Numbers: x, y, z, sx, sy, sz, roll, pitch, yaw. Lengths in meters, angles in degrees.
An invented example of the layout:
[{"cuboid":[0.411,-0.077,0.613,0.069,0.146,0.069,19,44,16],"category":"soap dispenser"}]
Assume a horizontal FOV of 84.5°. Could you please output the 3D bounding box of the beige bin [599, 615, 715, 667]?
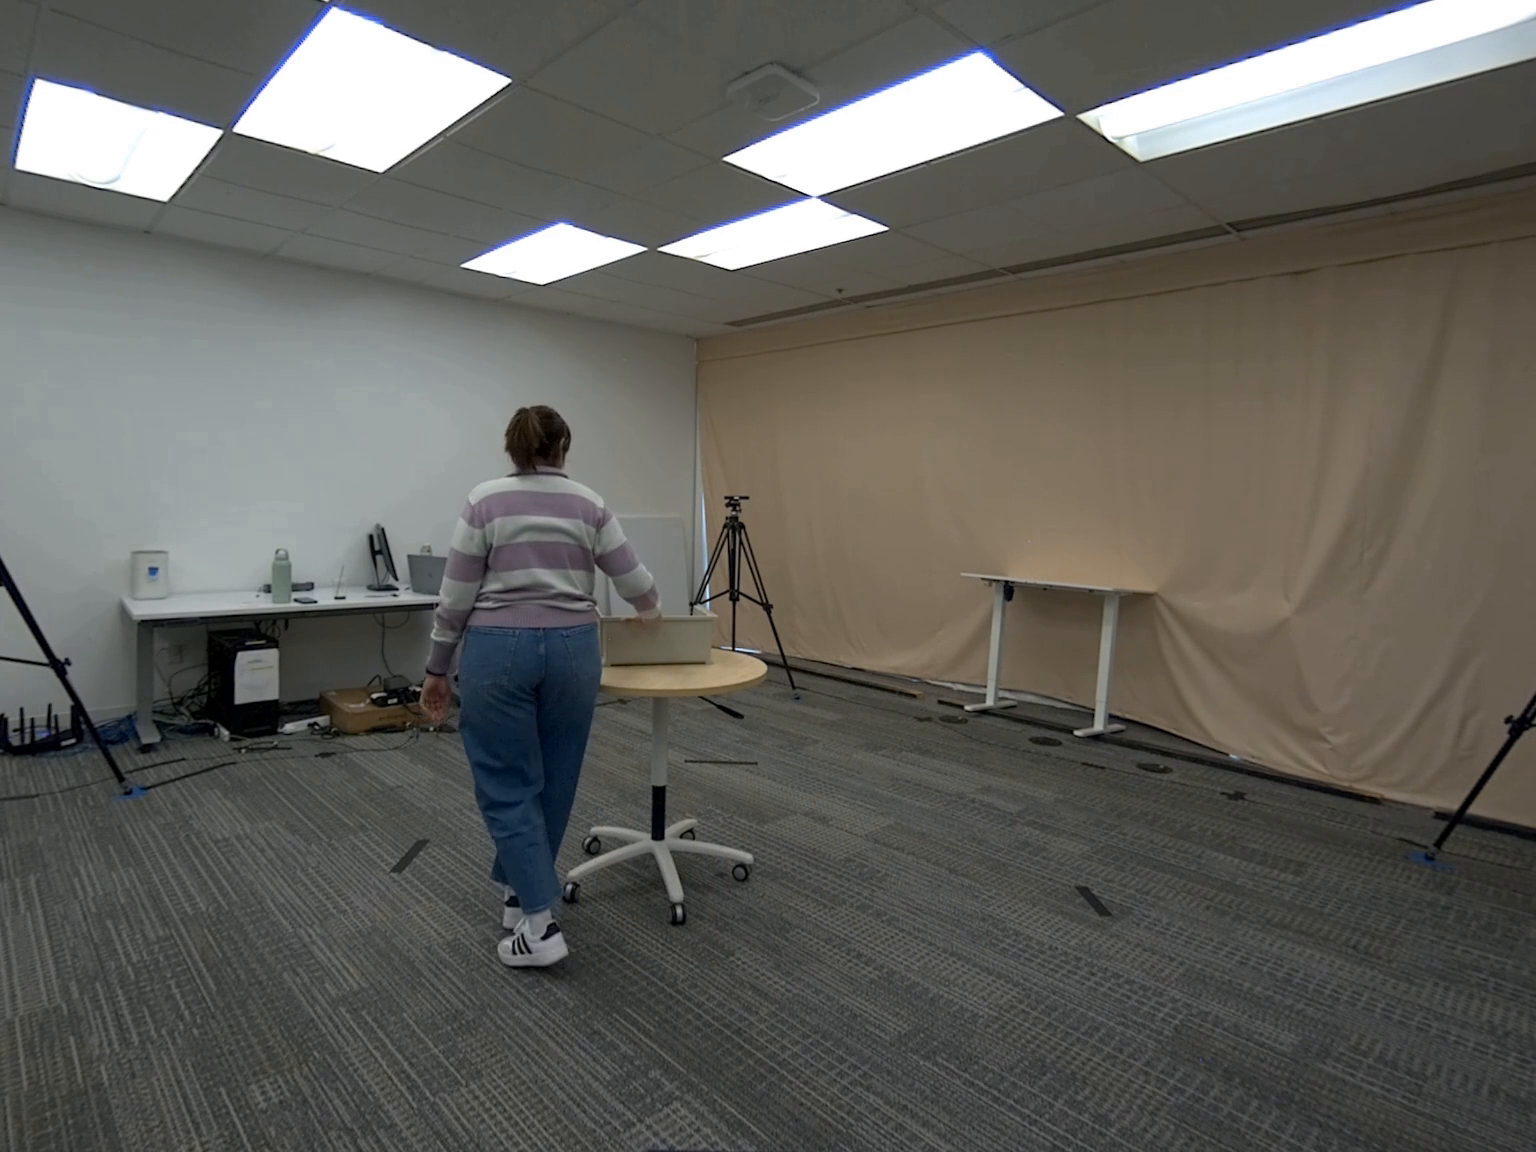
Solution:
[{"cuboid":[-0.439,0.213,3.180,0.417,0.188,0.383,1,7,-15],"category":"beige bin"}]
